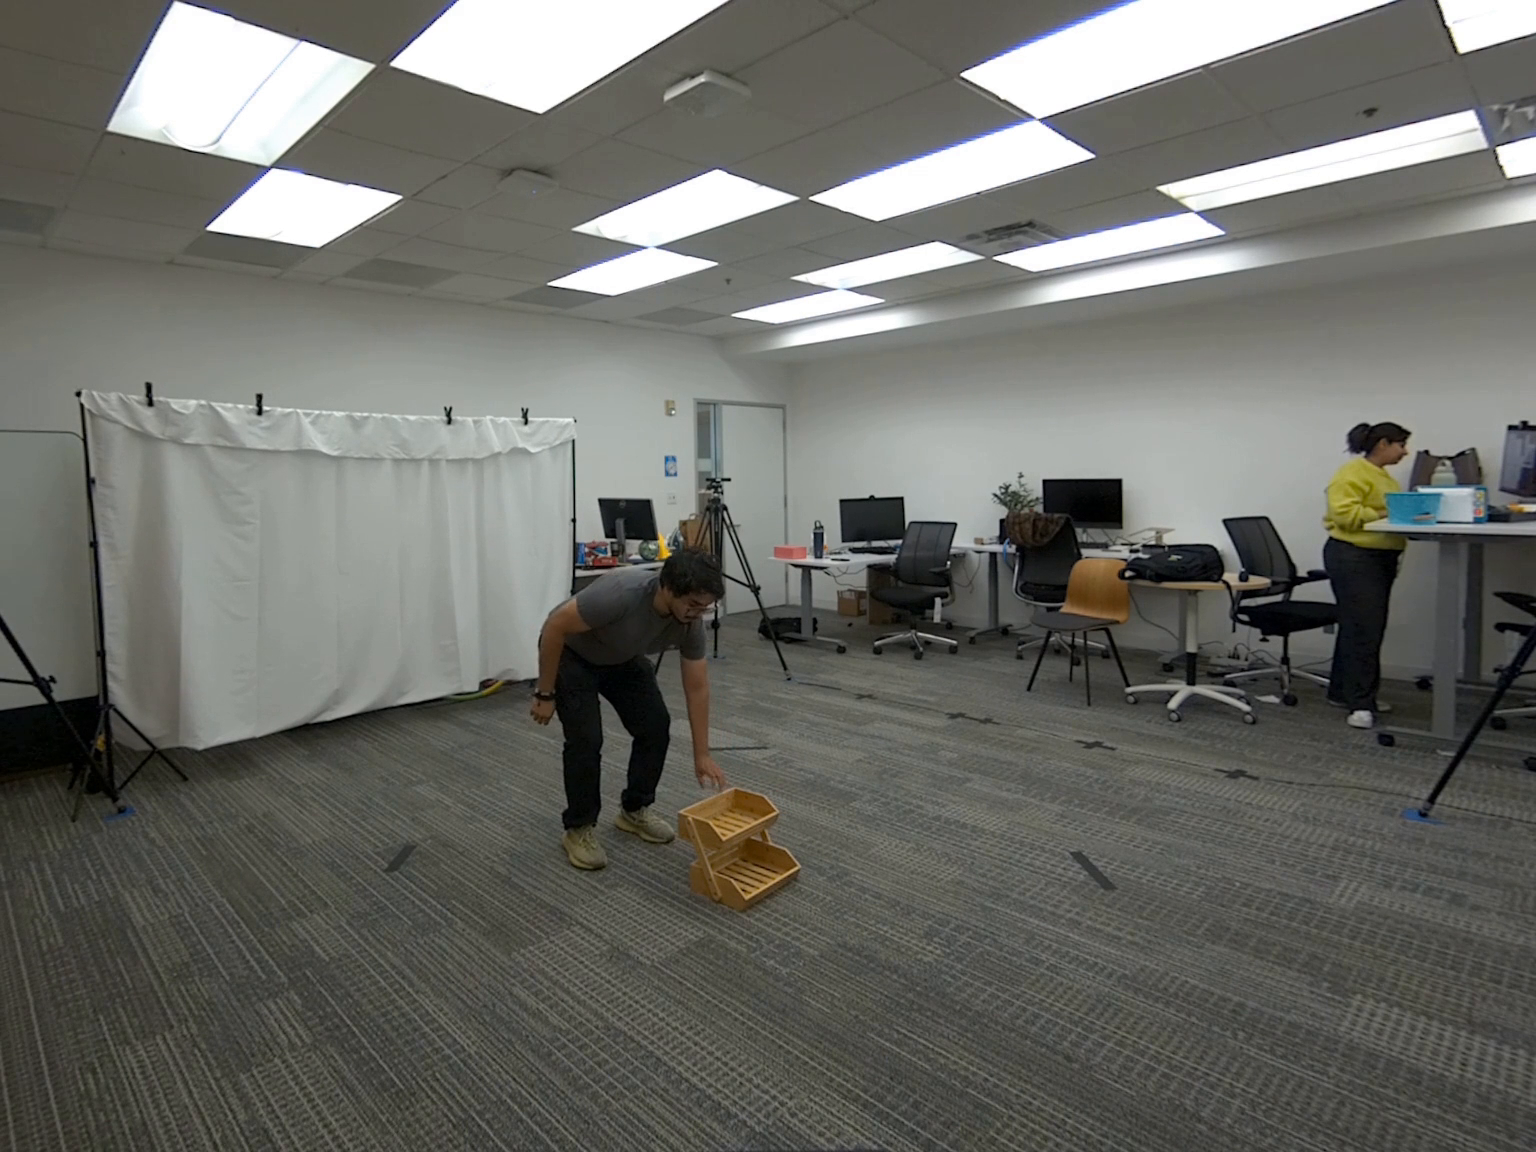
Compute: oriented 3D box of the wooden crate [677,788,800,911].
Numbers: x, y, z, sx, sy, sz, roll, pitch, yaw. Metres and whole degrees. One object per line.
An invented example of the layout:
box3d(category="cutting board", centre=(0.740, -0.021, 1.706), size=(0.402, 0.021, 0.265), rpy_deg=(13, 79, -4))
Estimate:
box3d(category="wooden crate", centre=(-0.093, 0.928, 2.946), size=(0.311, 0.272, 0.316), rpy_deg=(3, 7, 40))
